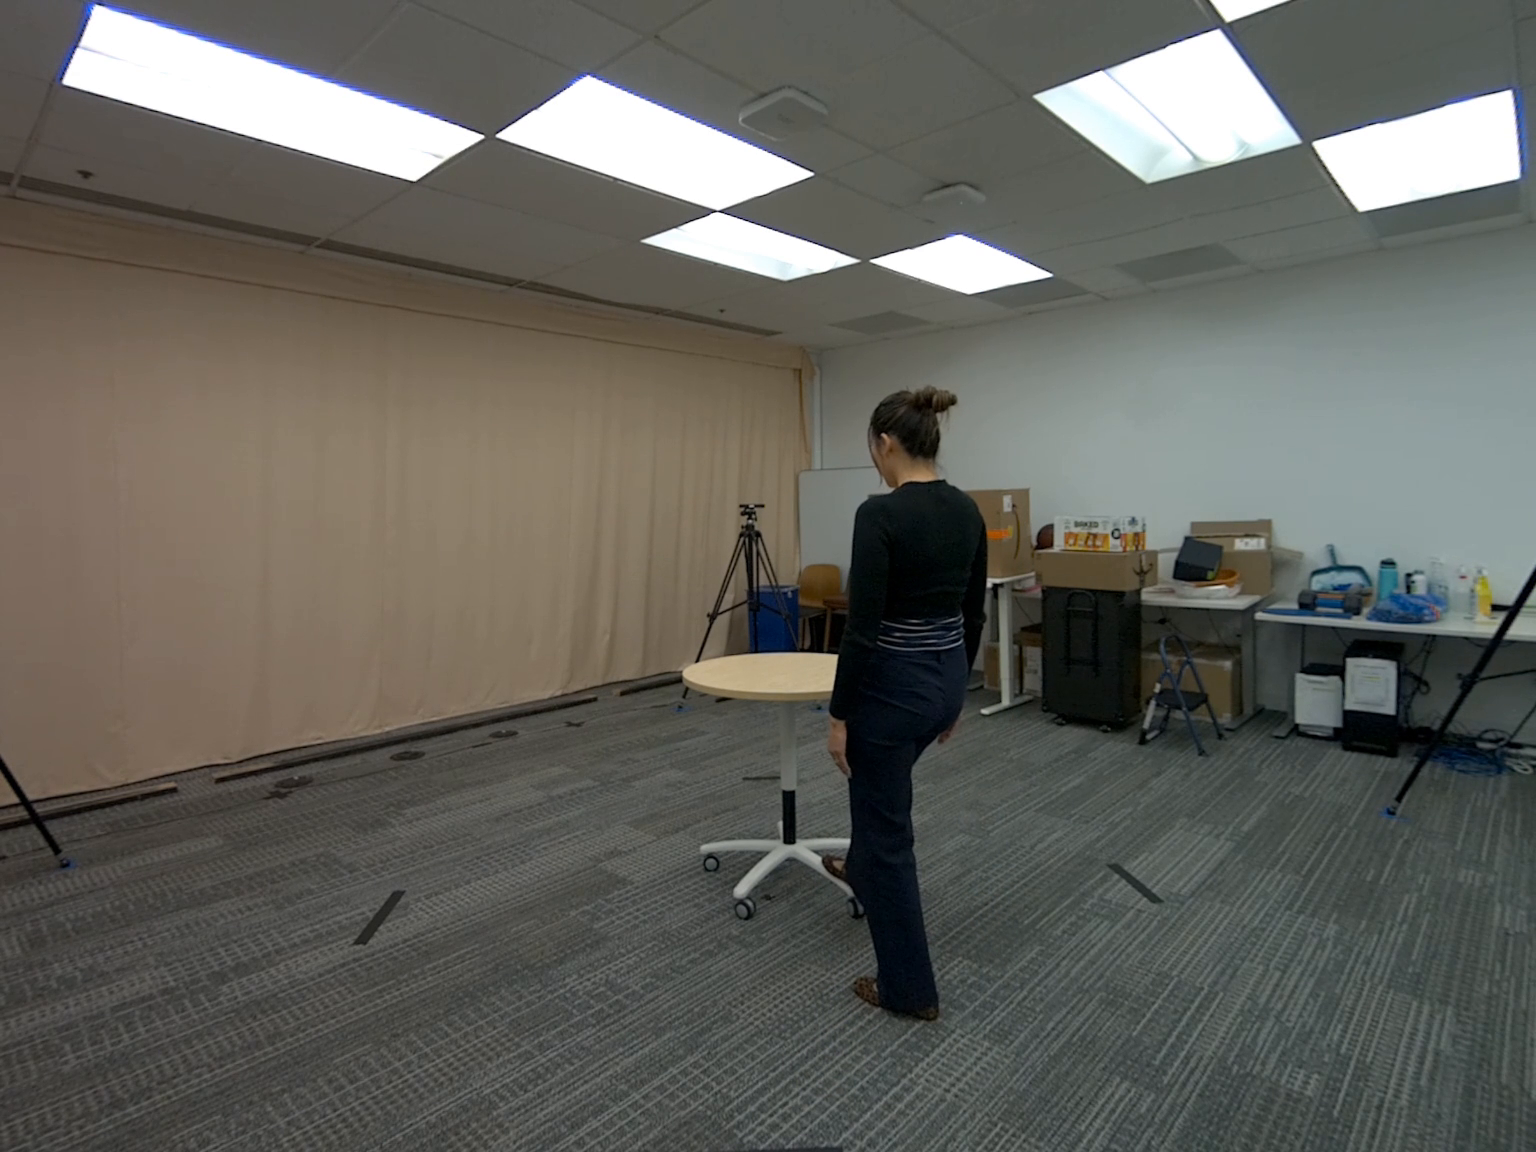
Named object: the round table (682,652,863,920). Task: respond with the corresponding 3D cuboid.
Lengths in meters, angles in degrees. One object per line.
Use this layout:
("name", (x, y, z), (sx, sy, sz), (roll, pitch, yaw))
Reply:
("round table", (0.079, 0.739, 3.099), (0.763, 0.792, 0.766), (-1, 3, -2))
